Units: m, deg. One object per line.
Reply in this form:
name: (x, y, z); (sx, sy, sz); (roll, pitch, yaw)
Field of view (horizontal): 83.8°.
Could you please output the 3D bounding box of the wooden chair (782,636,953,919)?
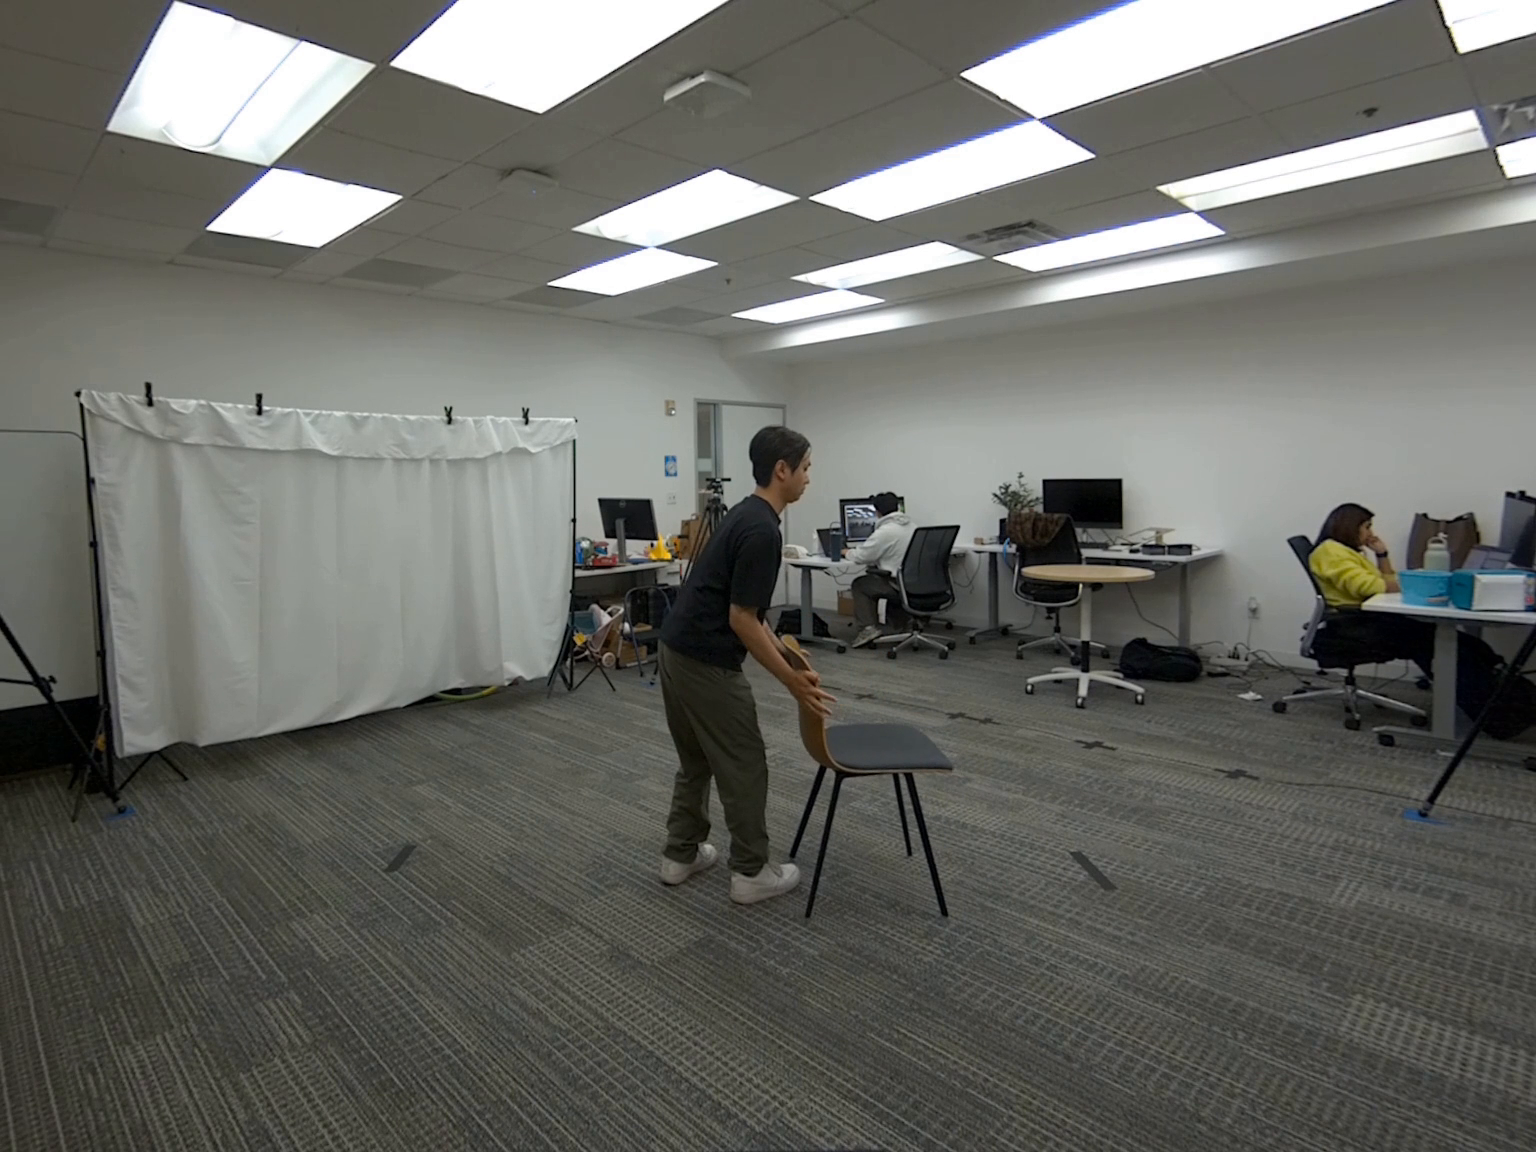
wooden chair: (0.337, 0.621, 2.899); (0.522, 0.876, 0.480); (-4, 2, -3)
